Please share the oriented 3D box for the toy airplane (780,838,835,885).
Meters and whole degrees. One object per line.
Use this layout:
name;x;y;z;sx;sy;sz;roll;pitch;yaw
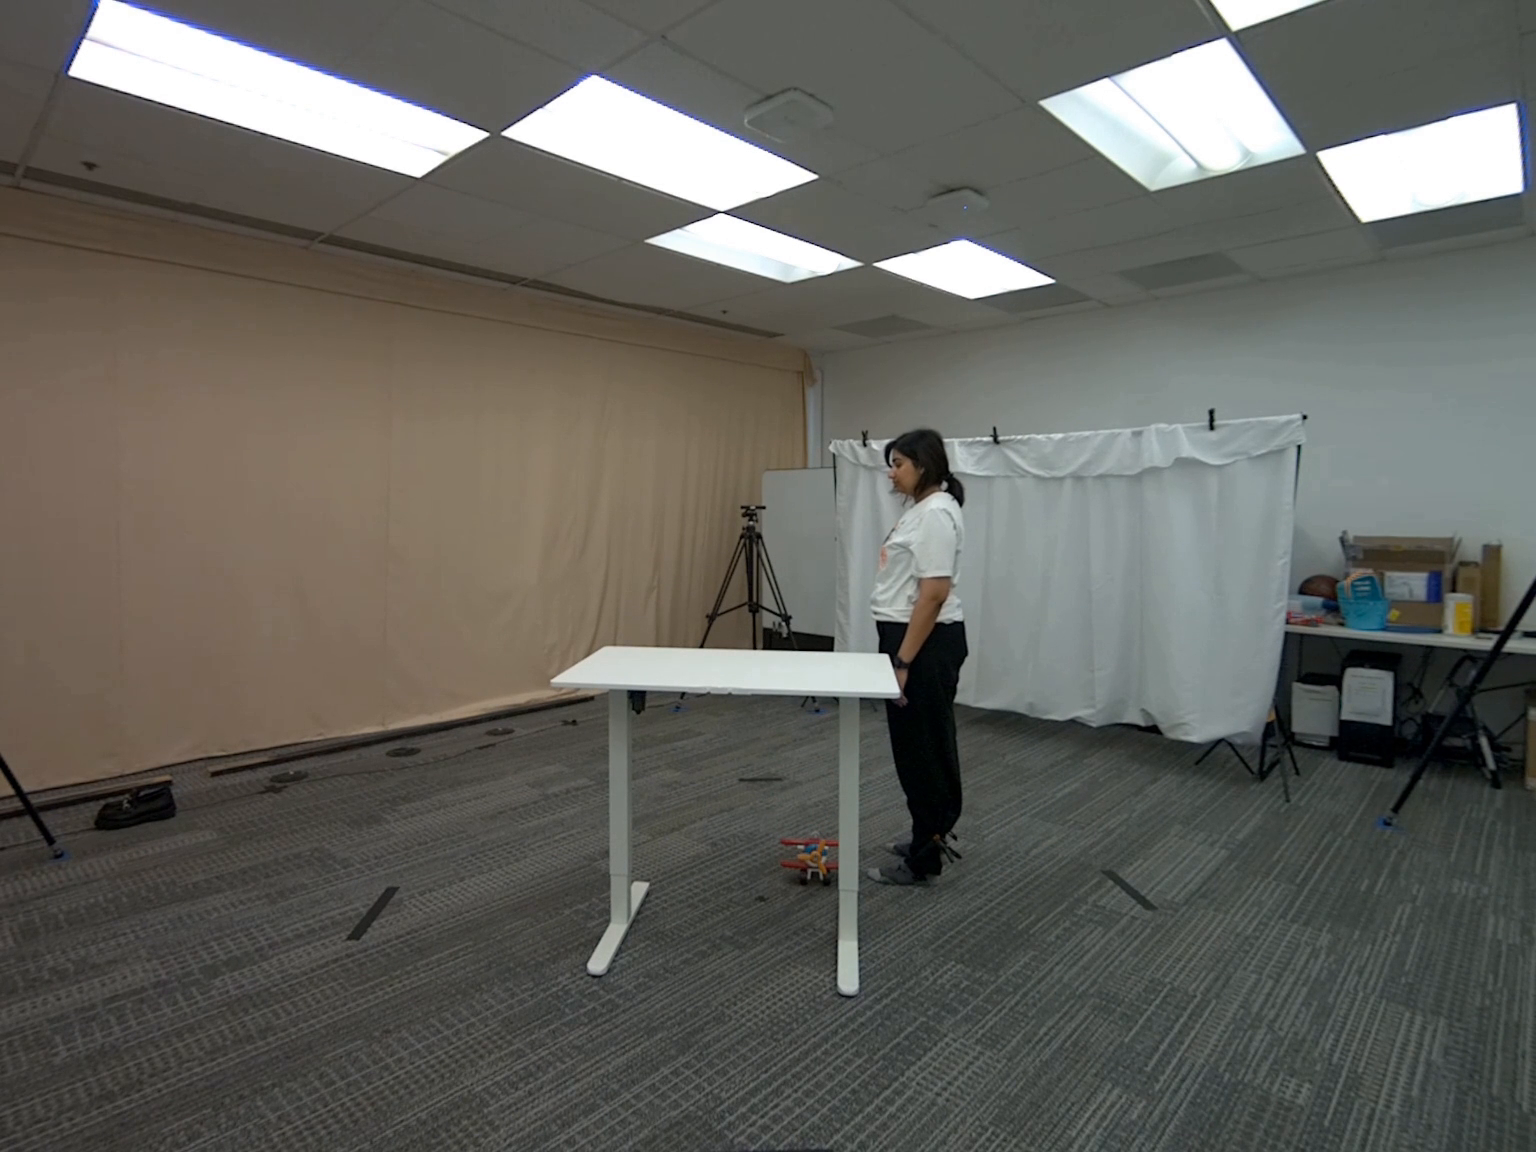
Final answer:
toy airplane;0.160;1.066;3.172;0.244;0.156;0.266;0;1;-29
